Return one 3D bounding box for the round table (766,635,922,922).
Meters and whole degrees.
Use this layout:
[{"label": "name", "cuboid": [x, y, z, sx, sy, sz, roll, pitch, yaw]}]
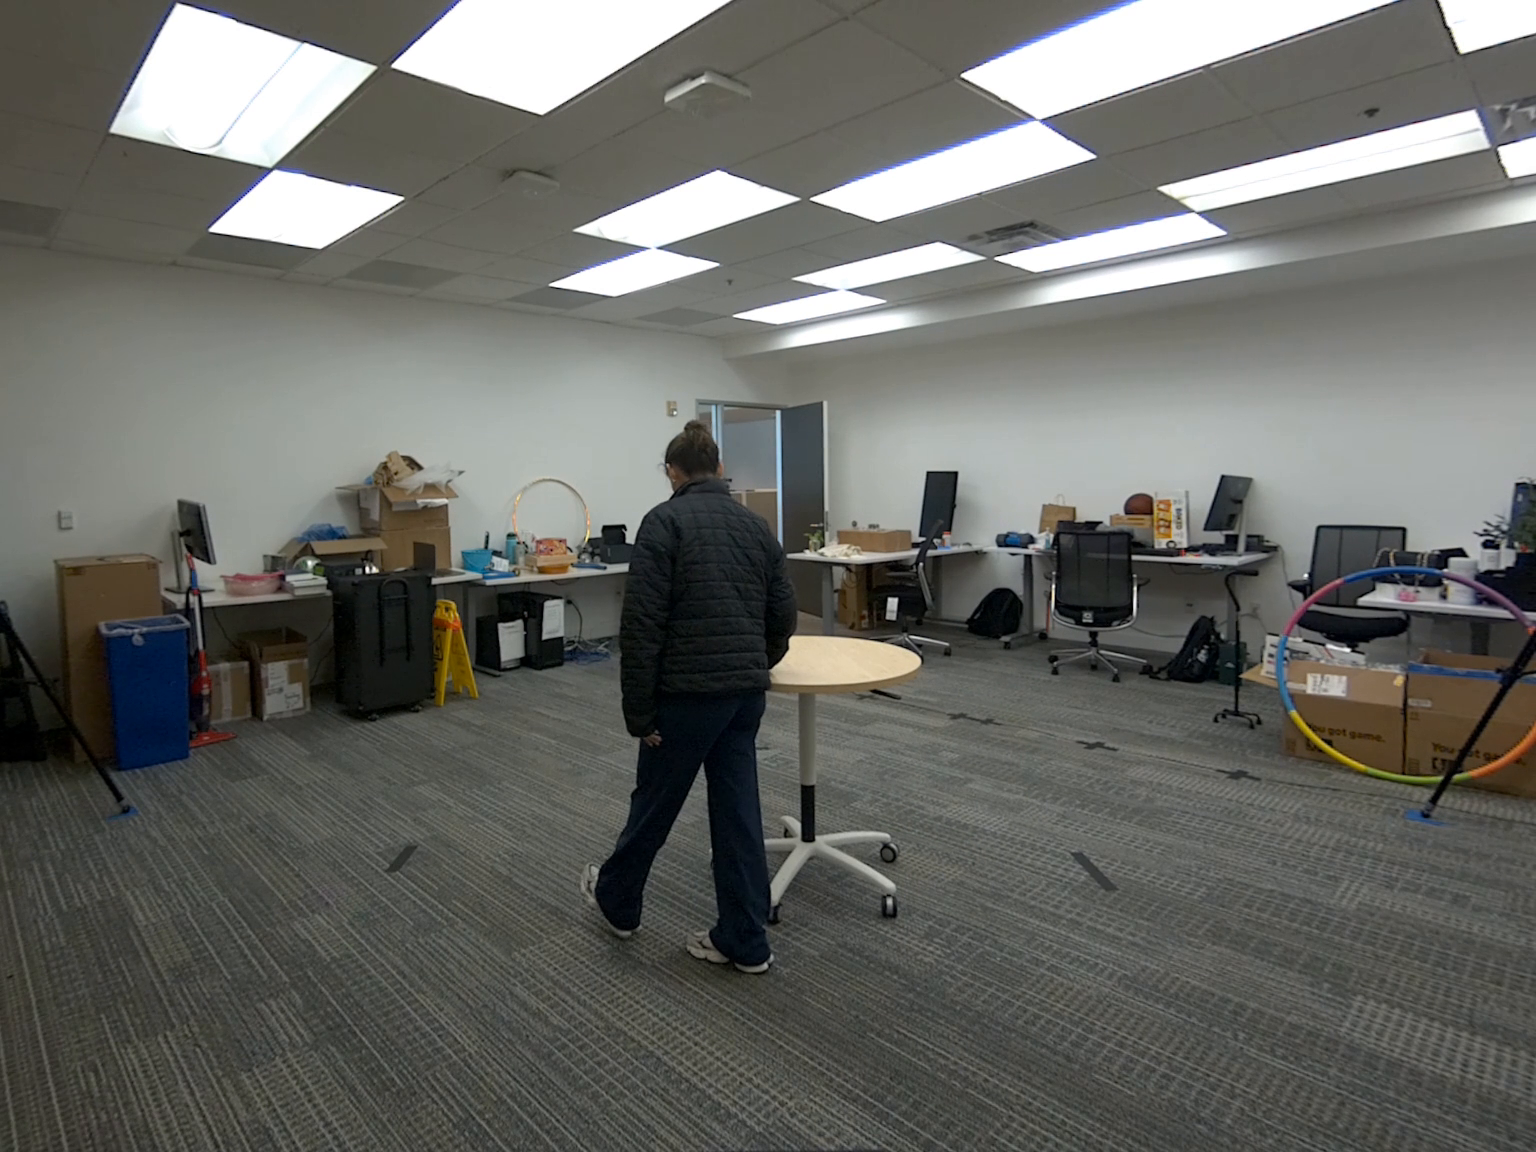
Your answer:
[{"label": "round table", "cuboid": [0.131, 0.665, 2.955, 0.784, 0.783, 0.789, -1, 5, -2]}]
